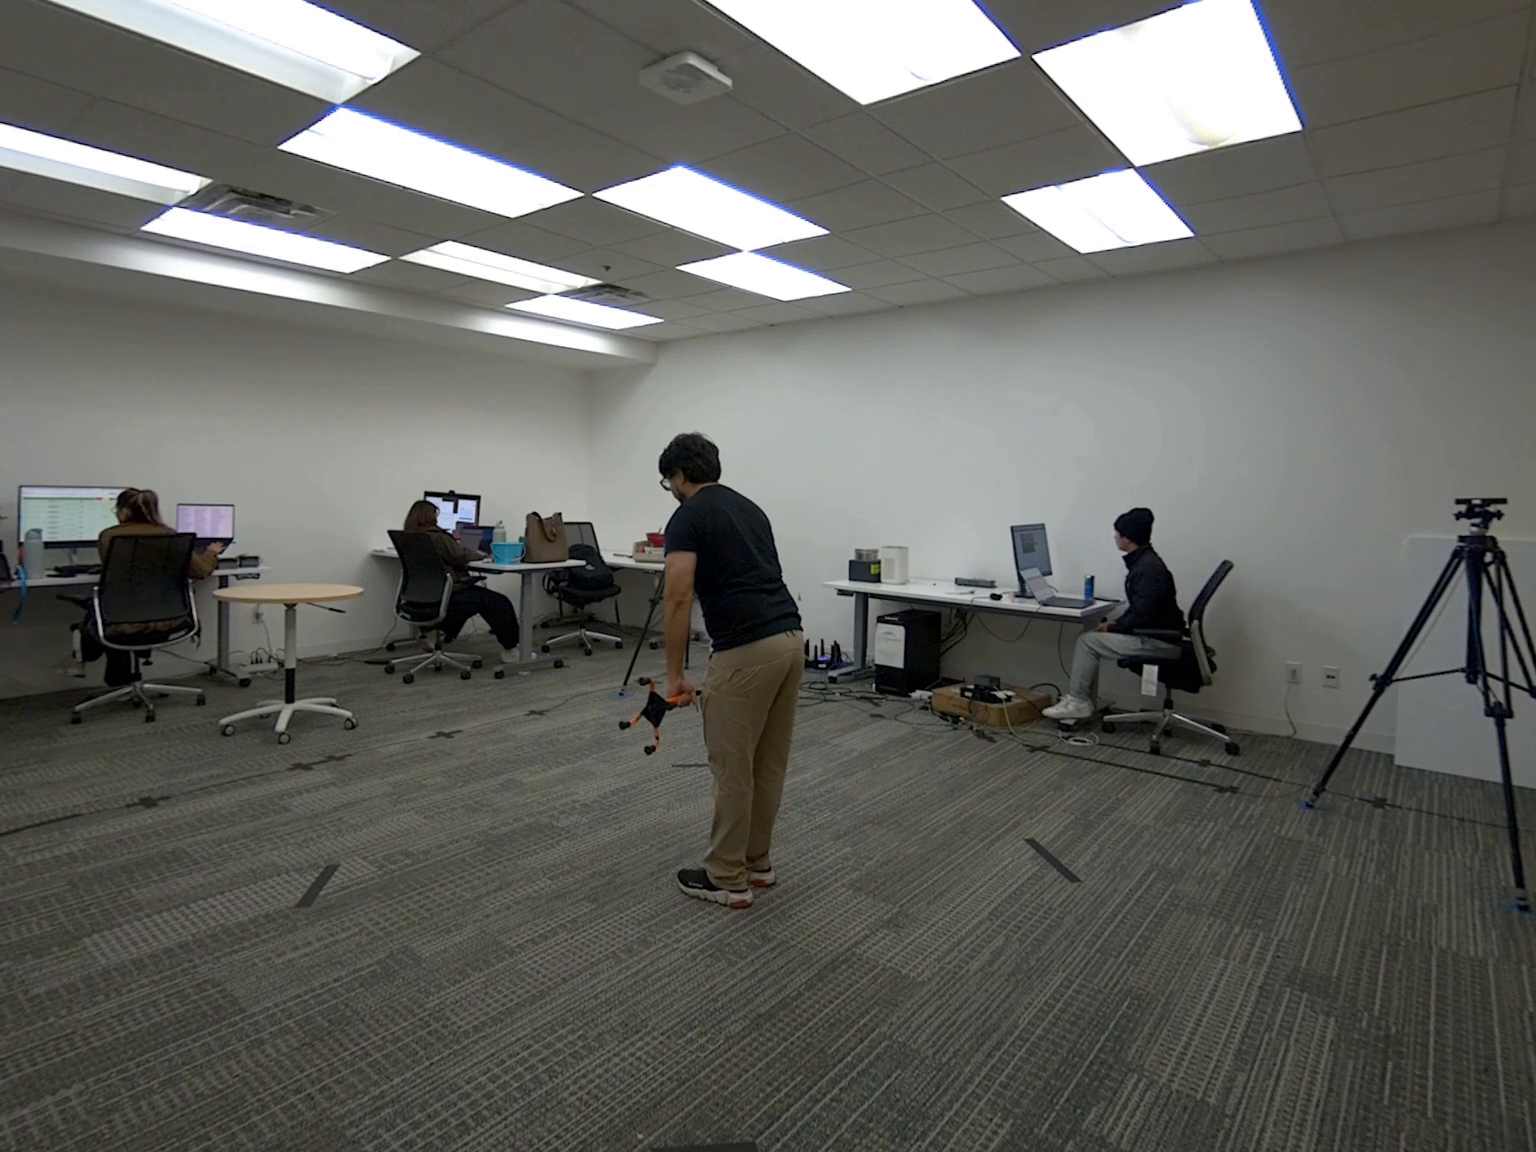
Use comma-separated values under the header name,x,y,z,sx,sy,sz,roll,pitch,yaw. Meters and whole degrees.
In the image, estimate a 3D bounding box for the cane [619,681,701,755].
name,x,y,z,sx,sy,sz,roll,pitch,yaw
cane,-0.155,0.395,3.020,0.157,0.205,0.884,38,24,26
